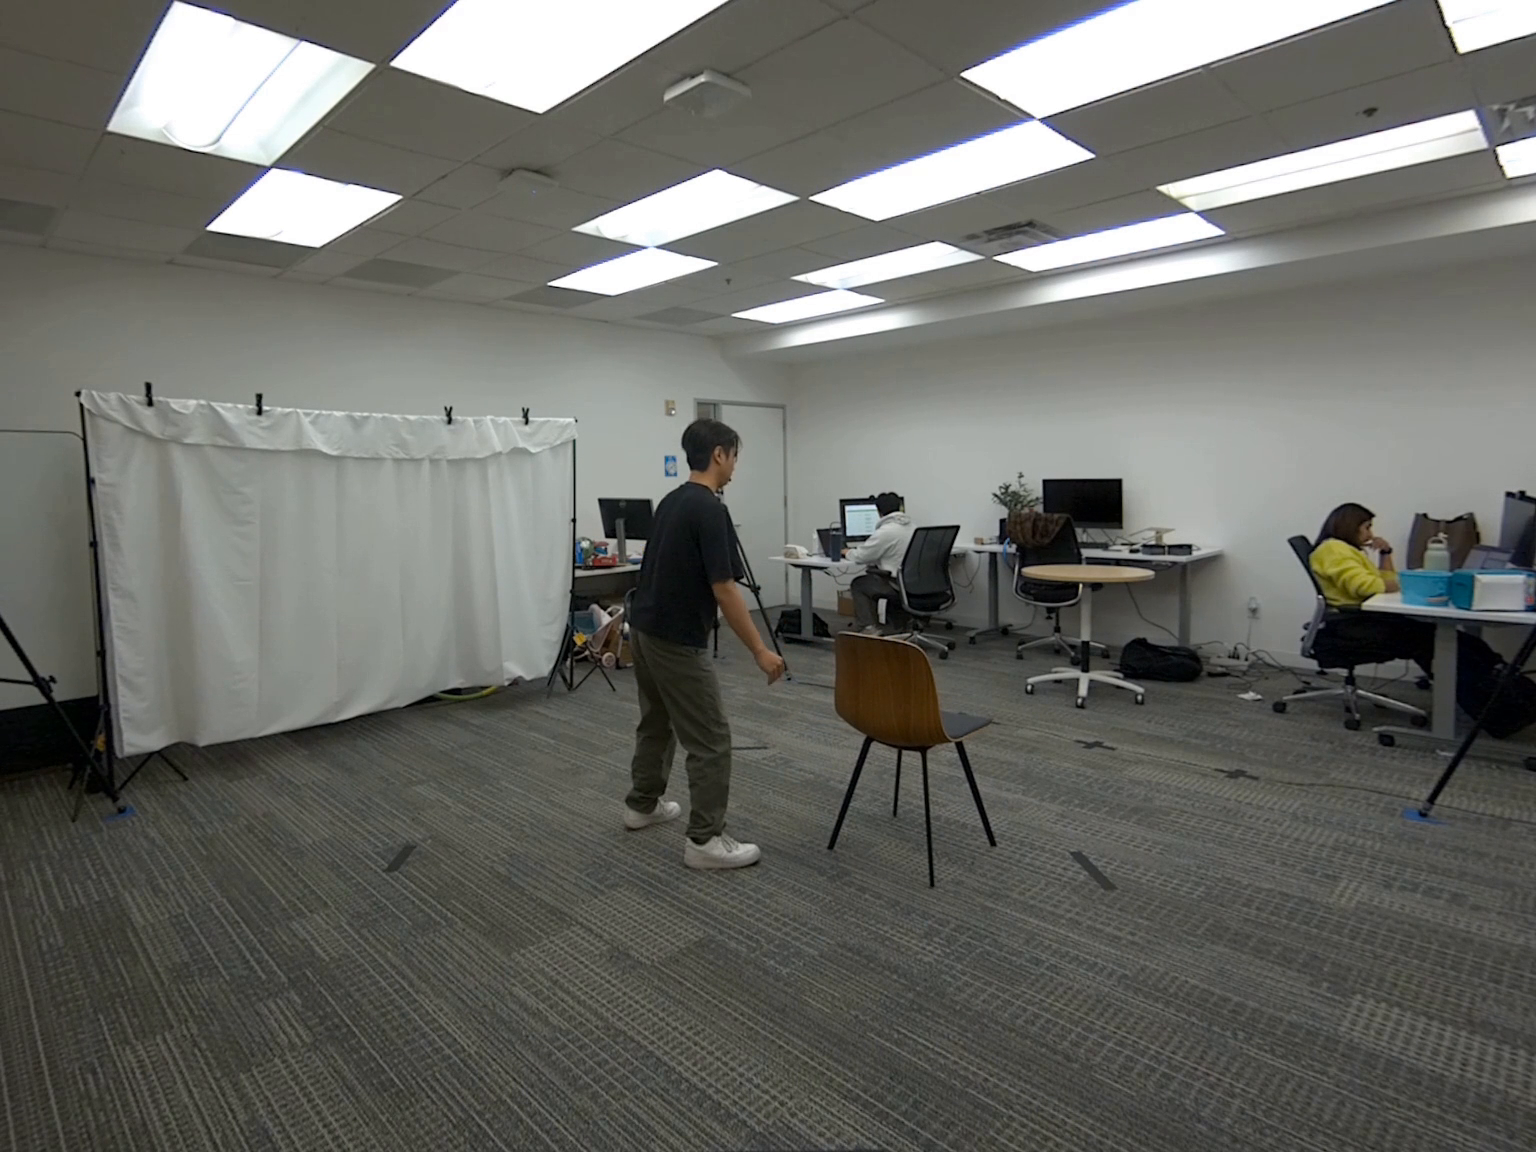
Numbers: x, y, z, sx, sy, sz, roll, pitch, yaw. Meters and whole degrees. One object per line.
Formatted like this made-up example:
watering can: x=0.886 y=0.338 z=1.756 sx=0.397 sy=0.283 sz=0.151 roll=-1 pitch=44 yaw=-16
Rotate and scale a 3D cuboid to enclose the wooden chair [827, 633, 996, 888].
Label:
wooden chair: x=0.537 y=0.593 z=3.181 sx=0.493 sy=0.871 sz=0.511 roll=3 pitch=10 yaw=43
